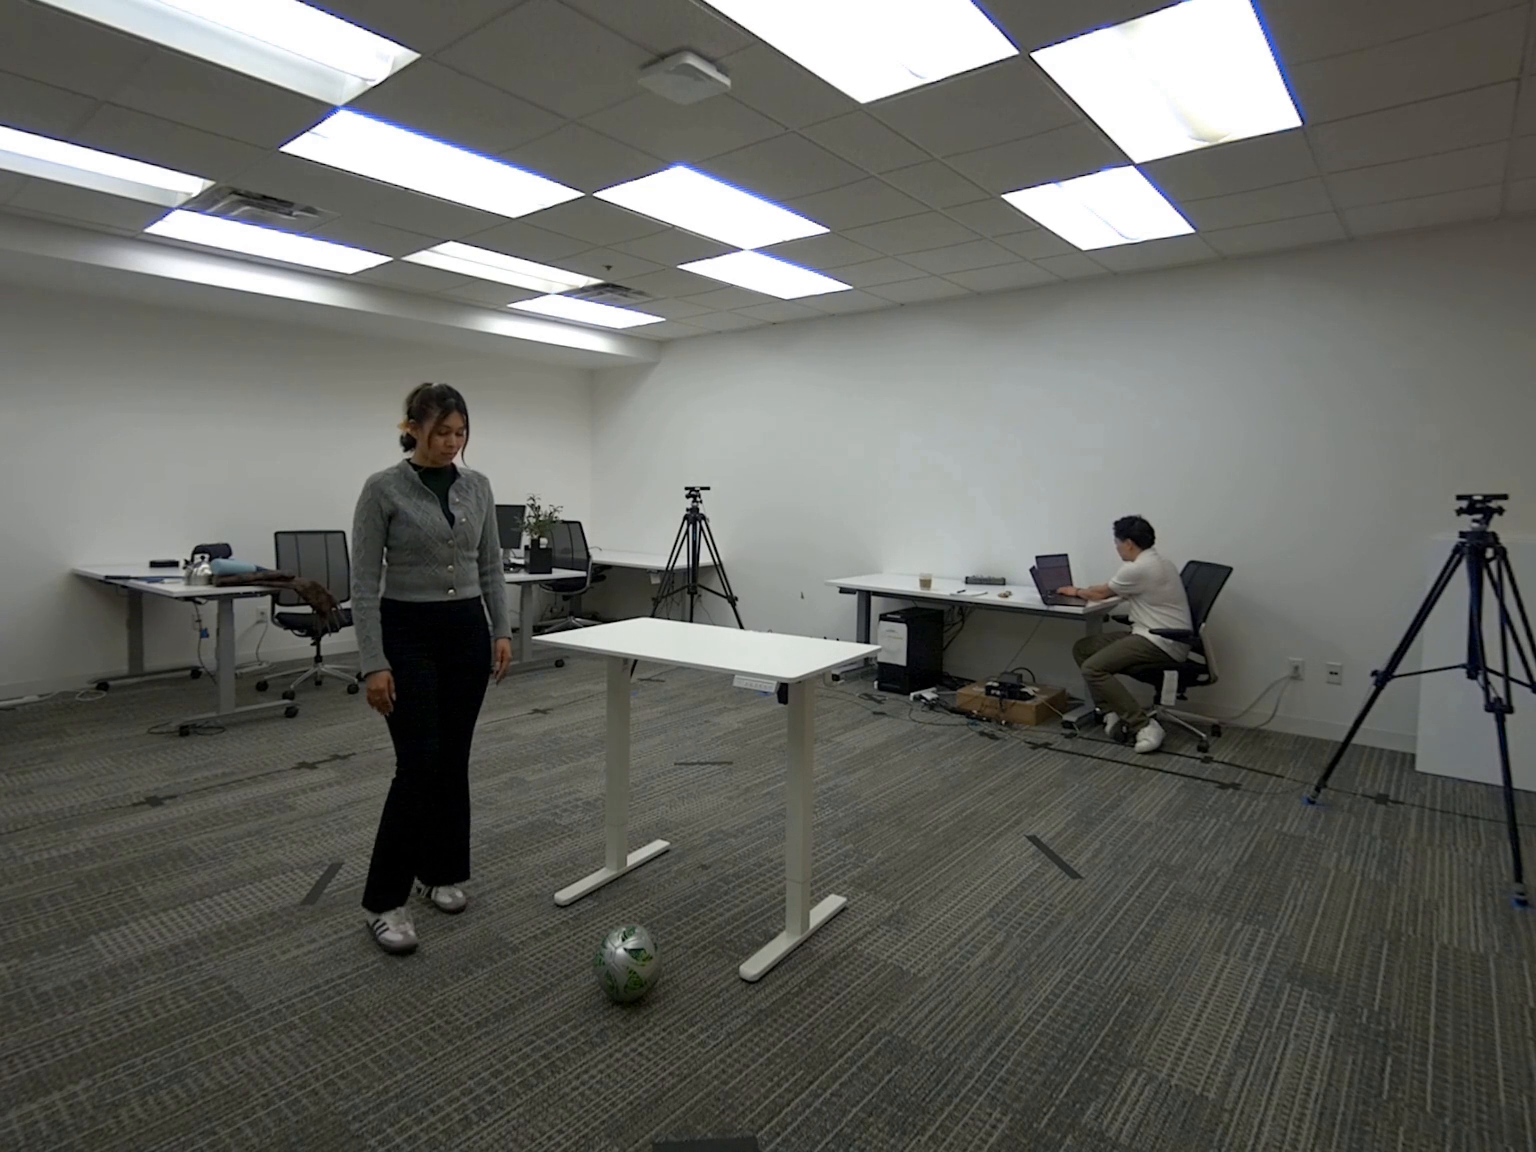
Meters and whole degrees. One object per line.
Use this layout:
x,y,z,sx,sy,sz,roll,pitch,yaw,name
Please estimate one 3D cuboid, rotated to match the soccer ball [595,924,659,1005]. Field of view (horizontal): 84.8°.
-0.385,1.050,2.308,0.187,0.187,0.188,0,4,-2,soccer ball
